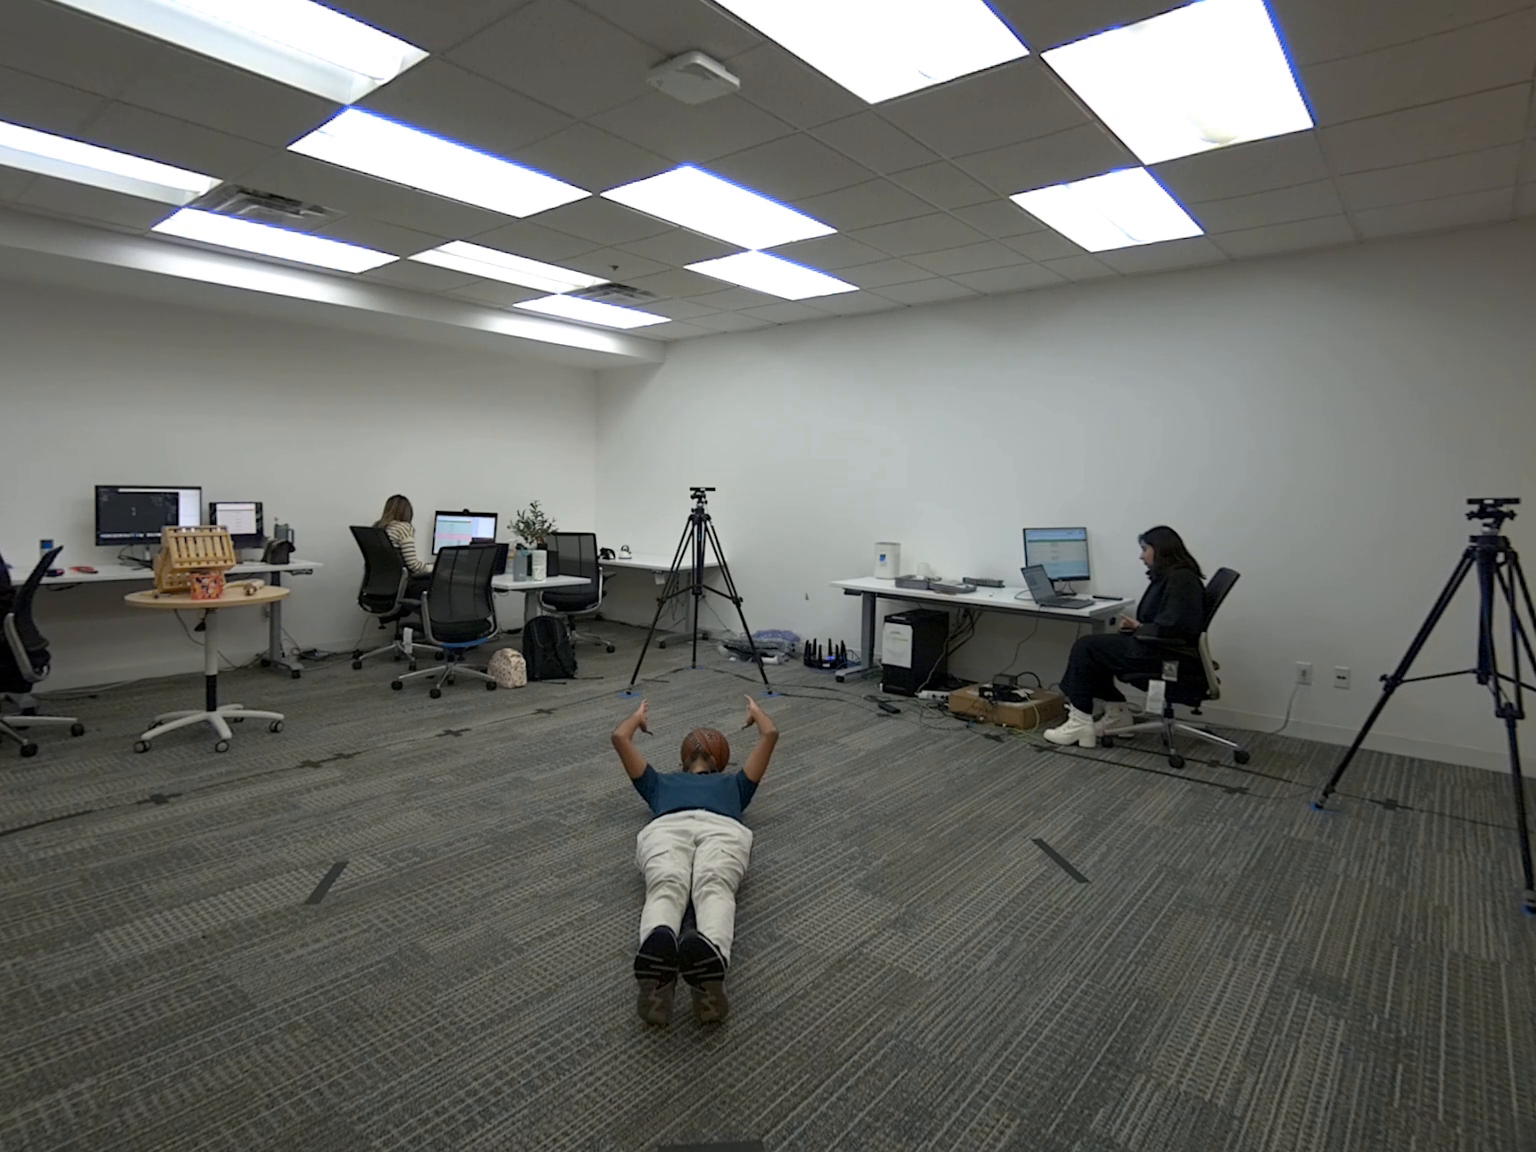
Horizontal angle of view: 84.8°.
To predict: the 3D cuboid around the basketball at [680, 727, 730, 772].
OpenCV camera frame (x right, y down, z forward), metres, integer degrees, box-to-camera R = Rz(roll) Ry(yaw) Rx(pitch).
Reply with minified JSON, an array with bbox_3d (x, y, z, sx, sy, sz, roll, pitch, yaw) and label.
[{"bbox_3d":[-0.316,0.843,4.104,0.235,0.235,0.237,1,4,-2],"label":"basketball"}]
